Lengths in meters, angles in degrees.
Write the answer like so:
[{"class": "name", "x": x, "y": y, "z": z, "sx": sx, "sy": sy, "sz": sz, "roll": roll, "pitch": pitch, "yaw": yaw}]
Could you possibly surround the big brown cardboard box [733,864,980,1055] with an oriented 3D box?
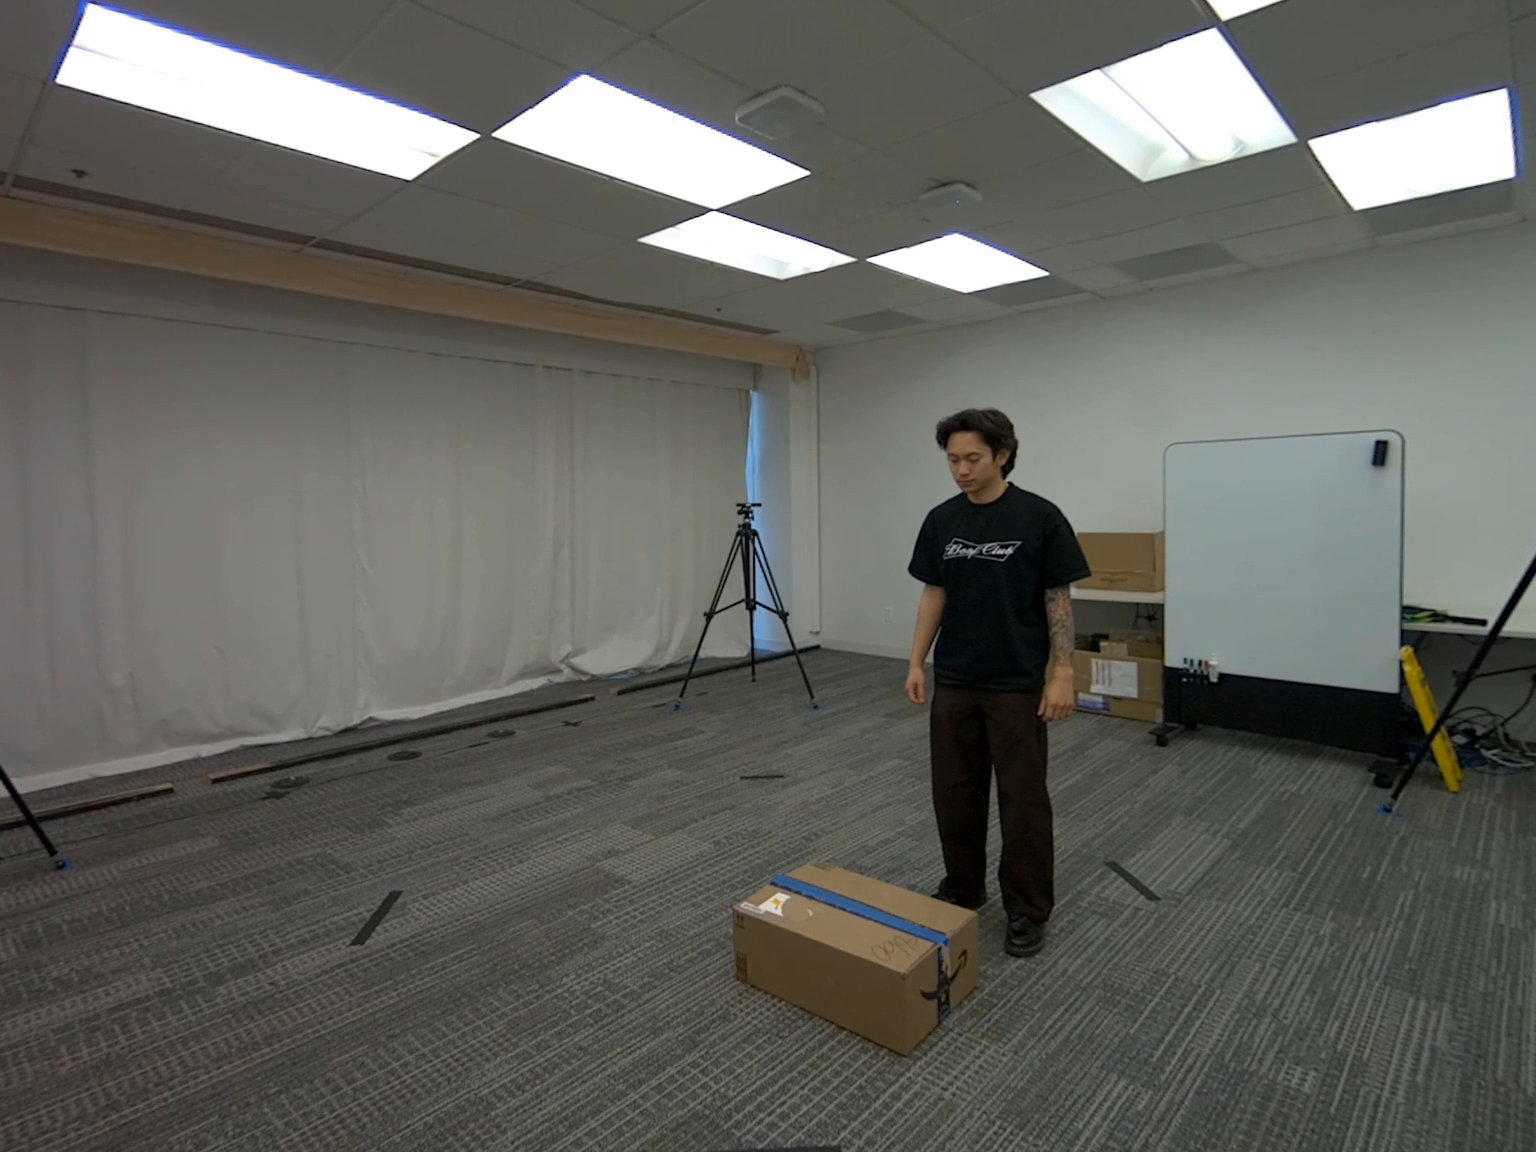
[{"class": "big brown cardboard box", "x": 0.250, "y": 1.066, "z": 2.441, "sx": 0.608, "sy": 0.232, "sz": 0.405, "roll": 5, "pitch": 7, "yaw": 39}]
